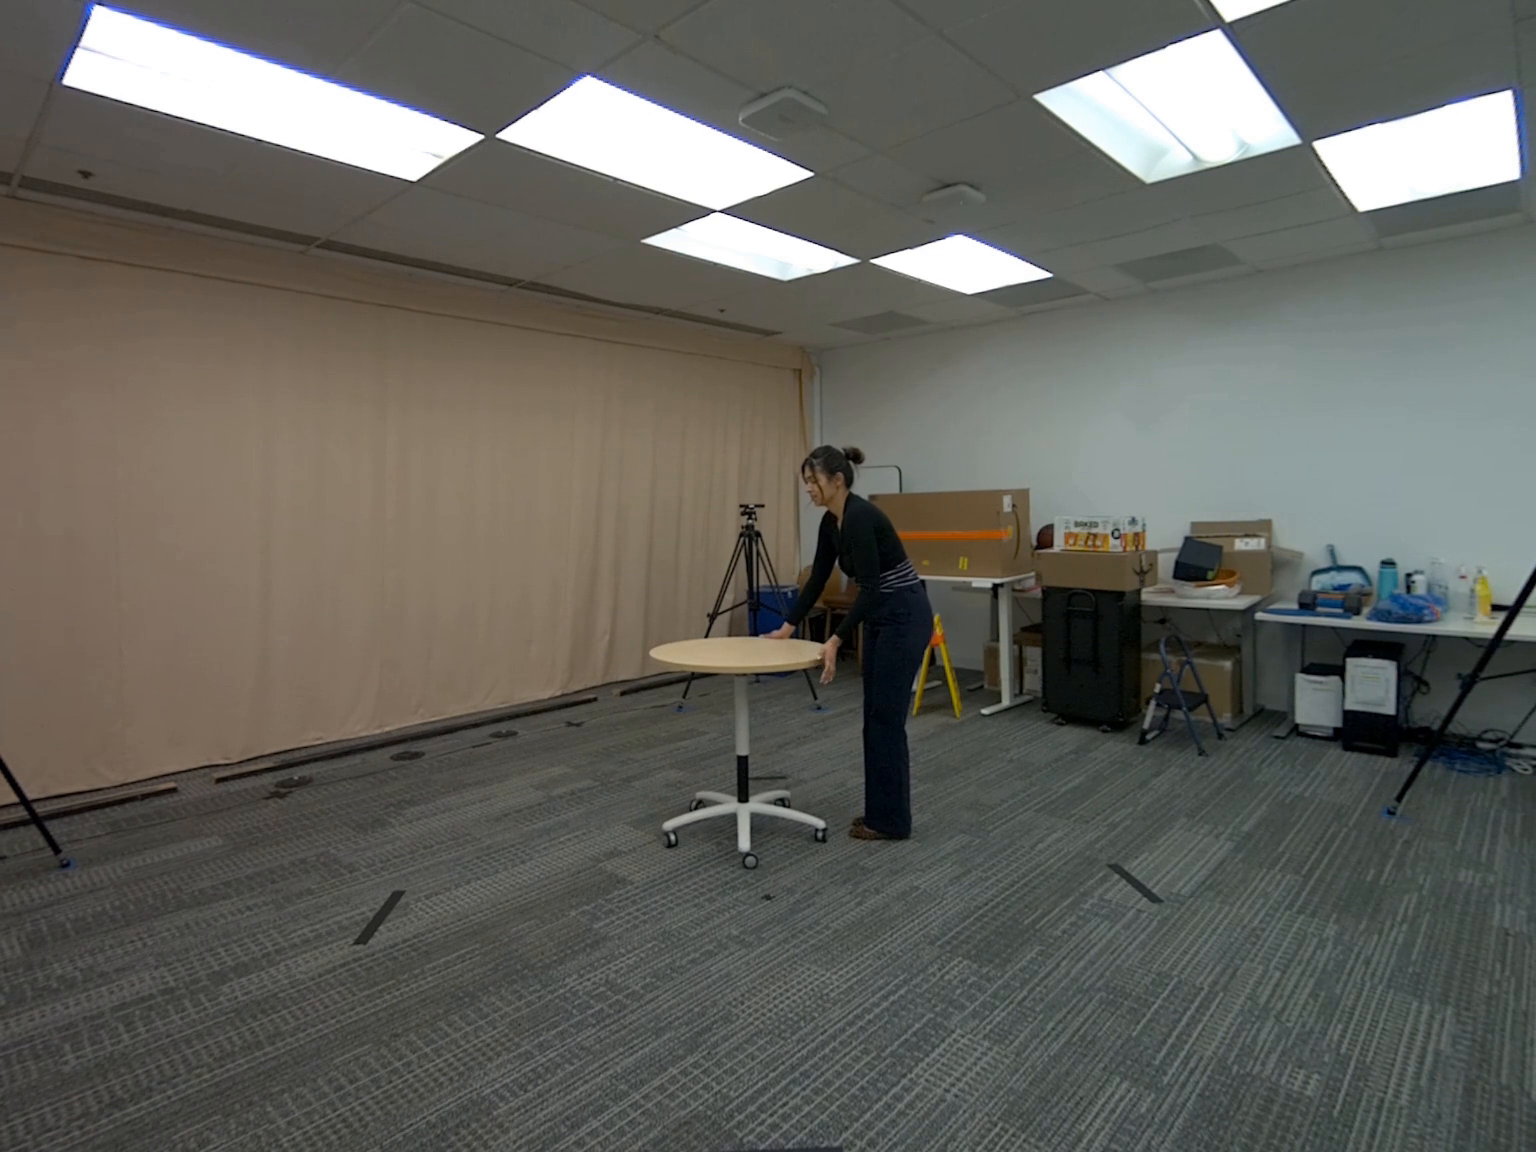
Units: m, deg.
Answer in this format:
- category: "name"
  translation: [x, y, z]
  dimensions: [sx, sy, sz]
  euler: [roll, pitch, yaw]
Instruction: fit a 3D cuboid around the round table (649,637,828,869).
- category: "round table"
  translation: [-0.106, 0.706, 3.543]
  dimensions: [0.763, 0.793, 0.766]
  euler: [-1, 3, -2]
